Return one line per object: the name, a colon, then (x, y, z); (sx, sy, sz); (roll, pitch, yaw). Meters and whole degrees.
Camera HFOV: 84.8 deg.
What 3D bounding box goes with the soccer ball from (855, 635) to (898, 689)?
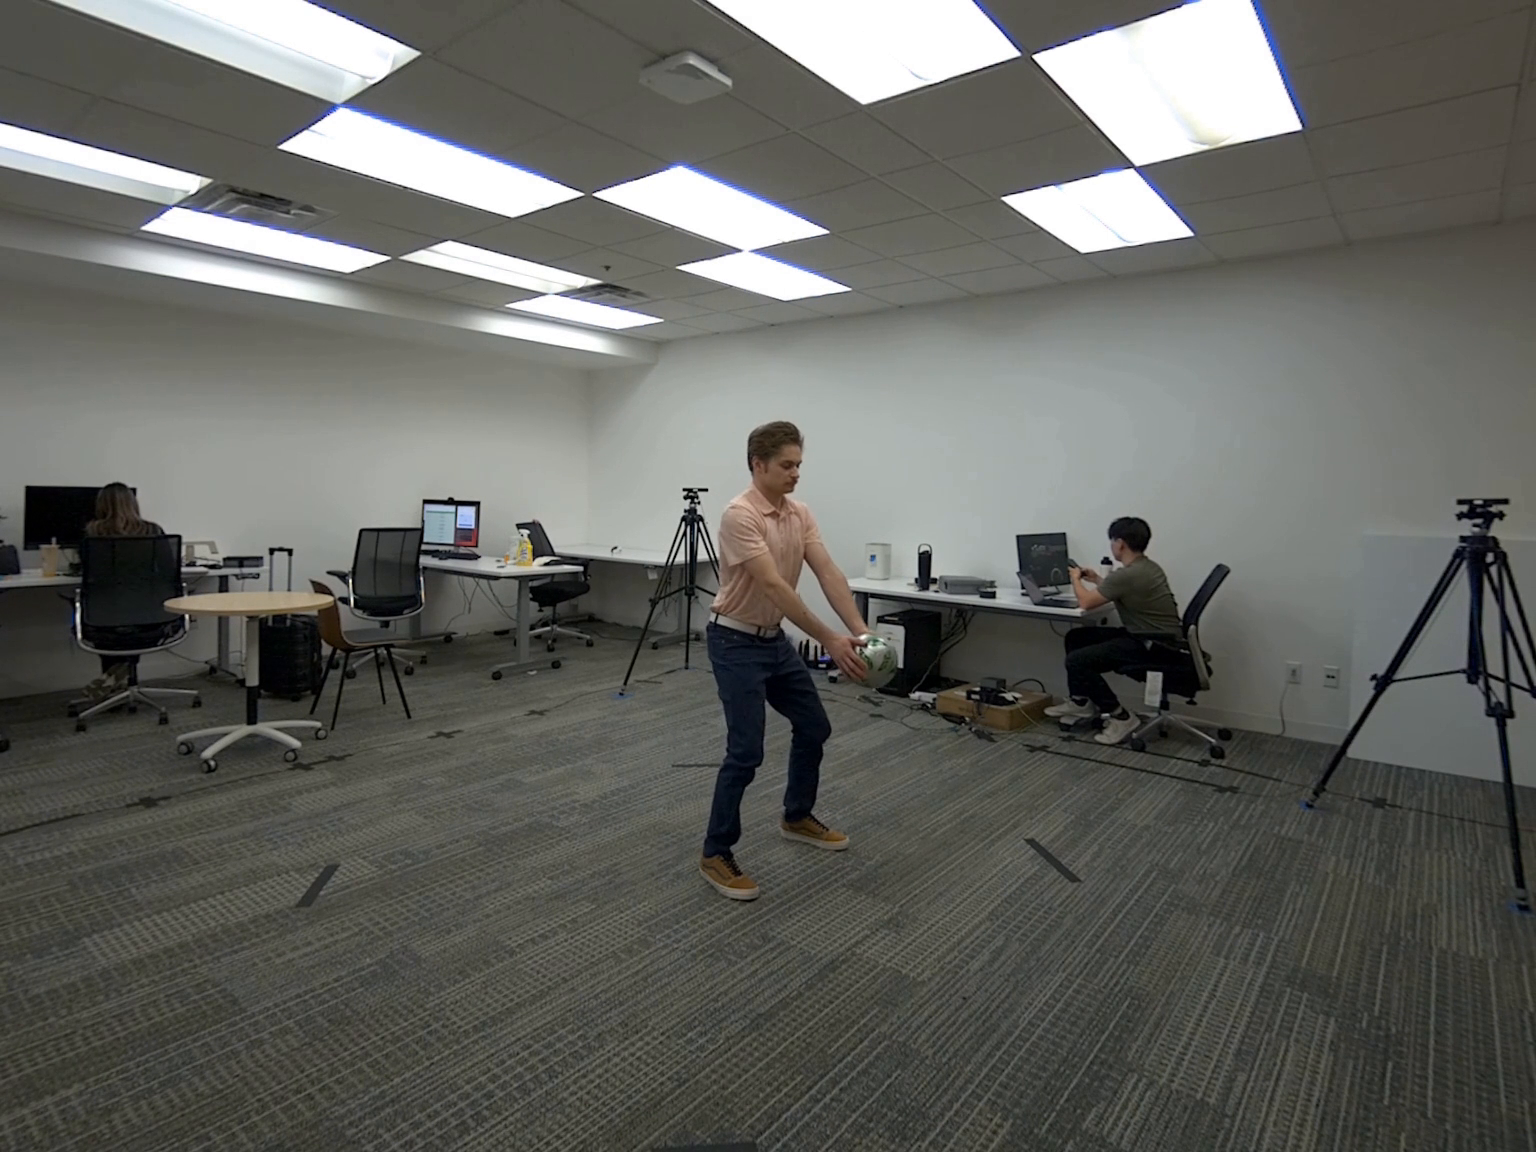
soccer ball: (0.344, 0.300, 2.887); (0.187, 0.187, 0.188); (1, 4, -2)
